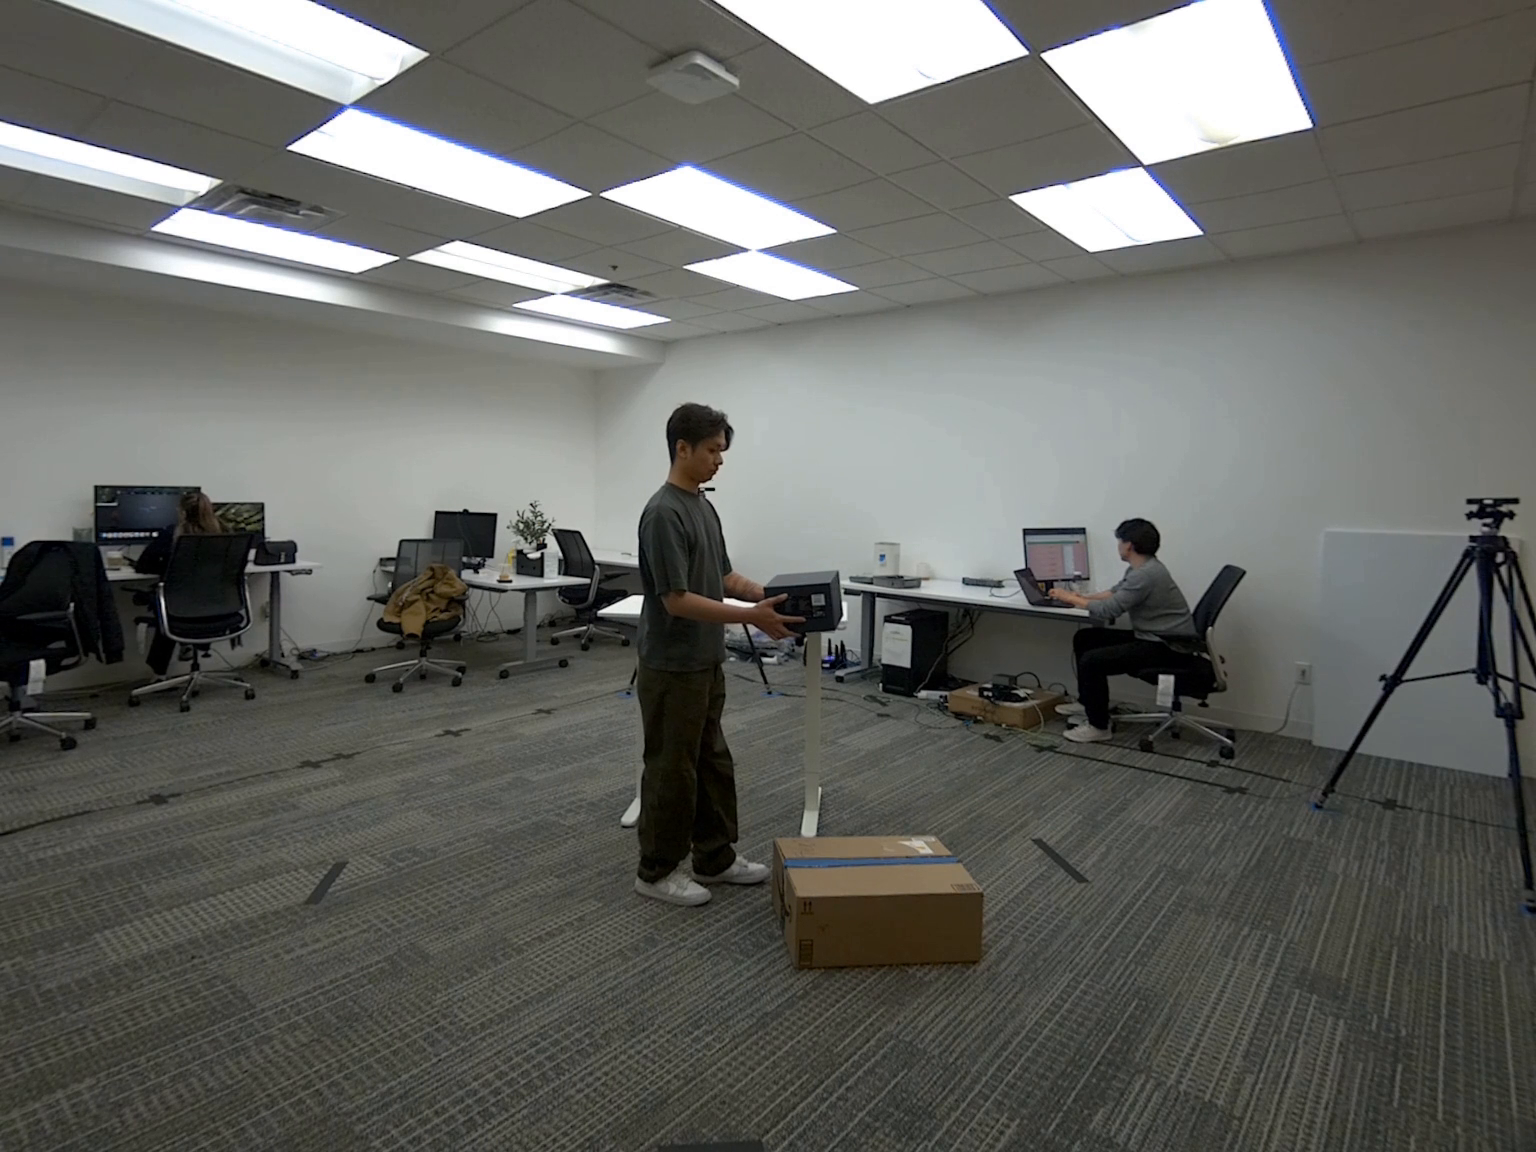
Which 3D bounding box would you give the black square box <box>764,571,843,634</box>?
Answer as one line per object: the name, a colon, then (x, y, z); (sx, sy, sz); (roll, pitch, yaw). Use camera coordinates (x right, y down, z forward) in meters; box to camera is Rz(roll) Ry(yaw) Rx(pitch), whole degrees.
black square box: (0.118, 0.080, 2.755); (0.219, 0.155, 0.227); (-5, 7, 10)
